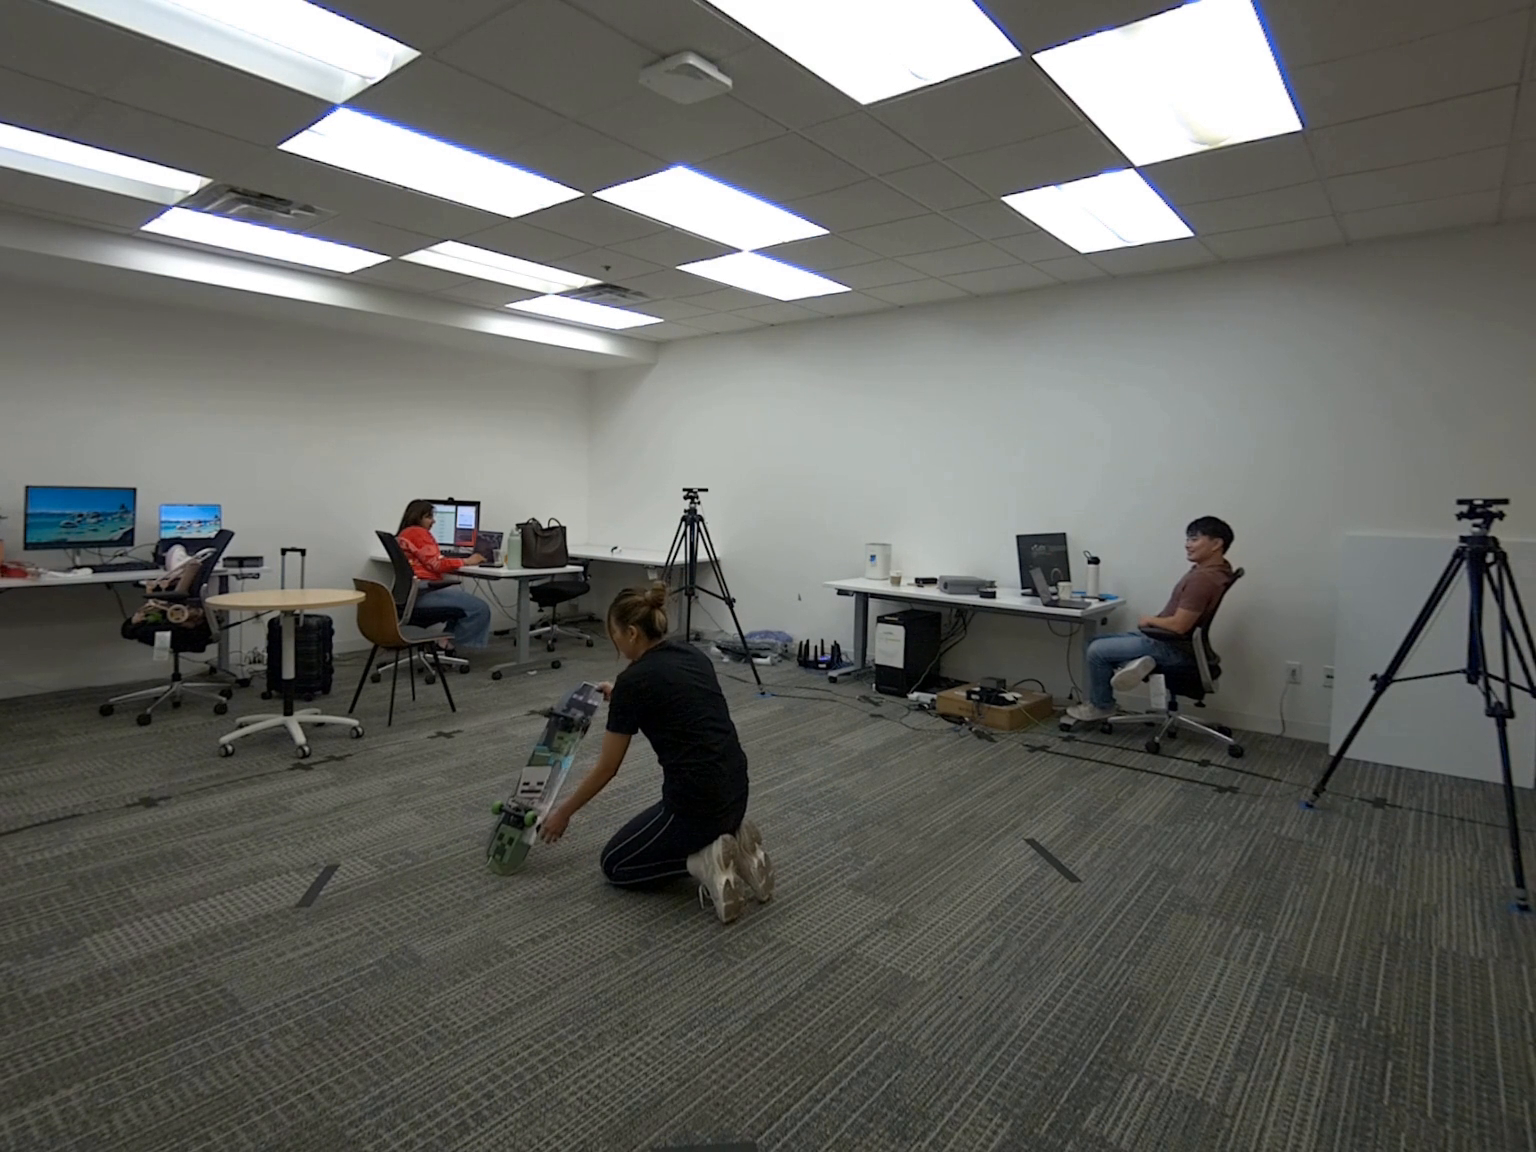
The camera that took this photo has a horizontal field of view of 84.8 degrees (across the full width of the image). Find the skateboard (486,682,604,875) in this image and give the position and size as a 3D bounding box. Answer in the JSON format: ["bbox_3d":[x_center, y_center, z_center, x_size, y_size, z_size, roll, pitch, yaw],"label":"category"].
[{"bbox_3d":[-0.856,0.716,3.210,0.199,0.795,0.106,5,-35,27],"label":"skateboard"}]
